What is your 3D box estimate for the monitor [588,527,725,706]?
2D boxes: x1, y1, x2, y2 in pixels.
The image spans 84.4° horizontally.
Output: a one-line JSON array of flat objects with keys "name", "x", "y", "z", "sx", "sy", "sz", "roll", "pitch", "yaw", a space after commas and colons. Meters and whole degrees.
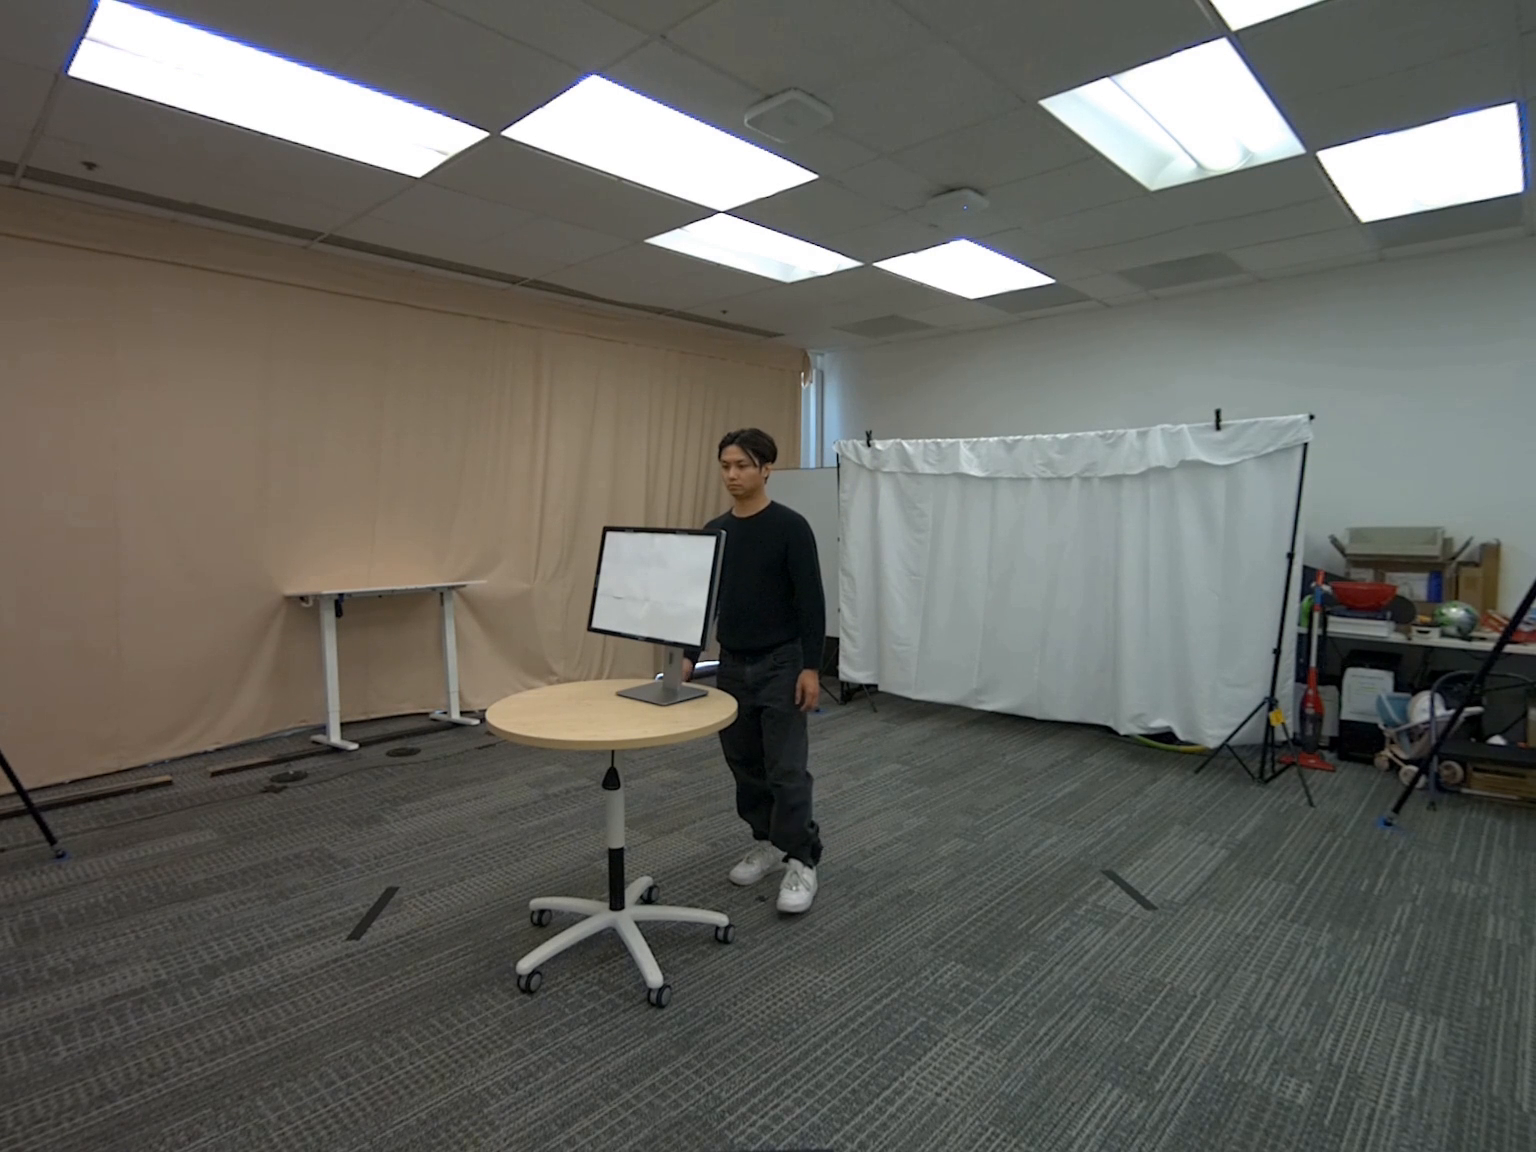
[{"name": "monitor", "x": -0.340, "y": 0.120, "z": 2.714, "sx": 0.557, "sy": 0.521, "sz": 0.181, "roll": 4, "pitch": 6, "yaw": 39}]
